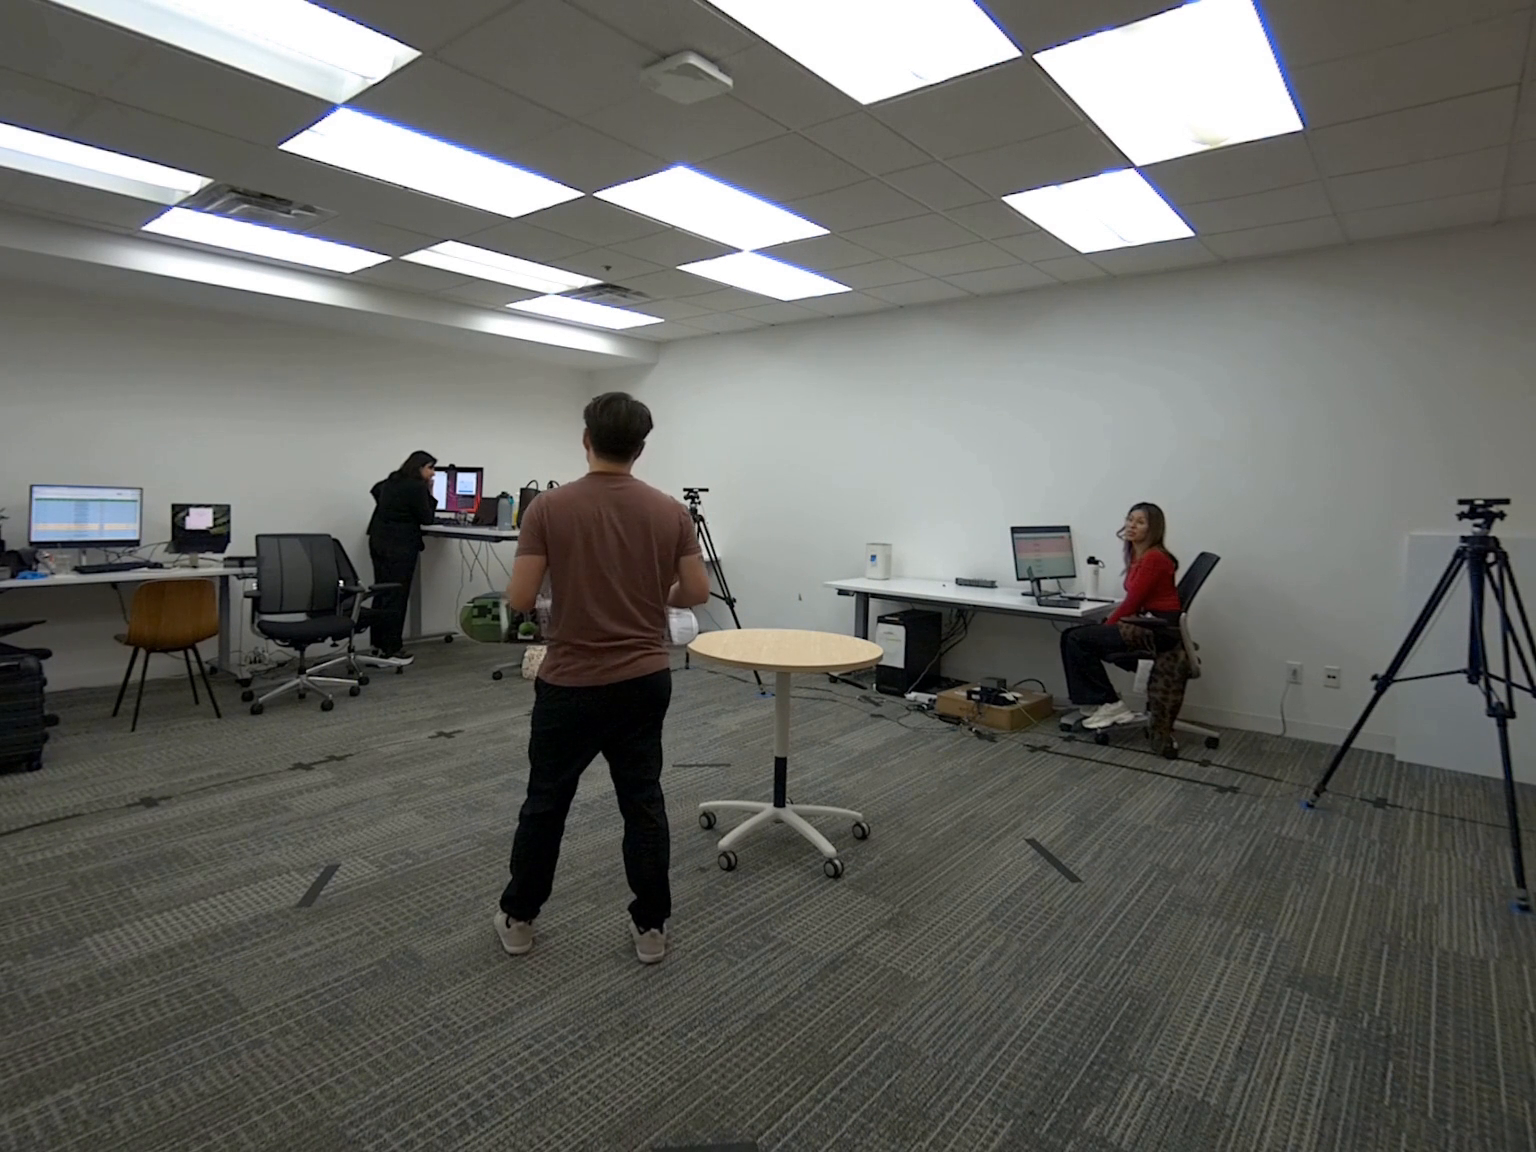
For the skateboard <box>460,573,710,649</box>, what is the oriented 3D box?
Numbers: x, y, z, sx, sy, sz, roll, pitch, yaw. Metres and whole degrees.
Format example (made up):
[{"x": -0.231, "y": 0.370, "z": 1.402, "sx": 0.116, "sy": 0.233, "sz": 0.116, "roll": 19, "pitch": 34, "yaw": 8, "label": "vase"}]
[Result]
[{"x": -0.592, "y": 0.119, "z": 2.745, "sx": 0.767, "sy": 0.200, "sz": 0.109, "roll": 3, "pitch": -36, "yaw": -22, "label": "skateboard"}]
